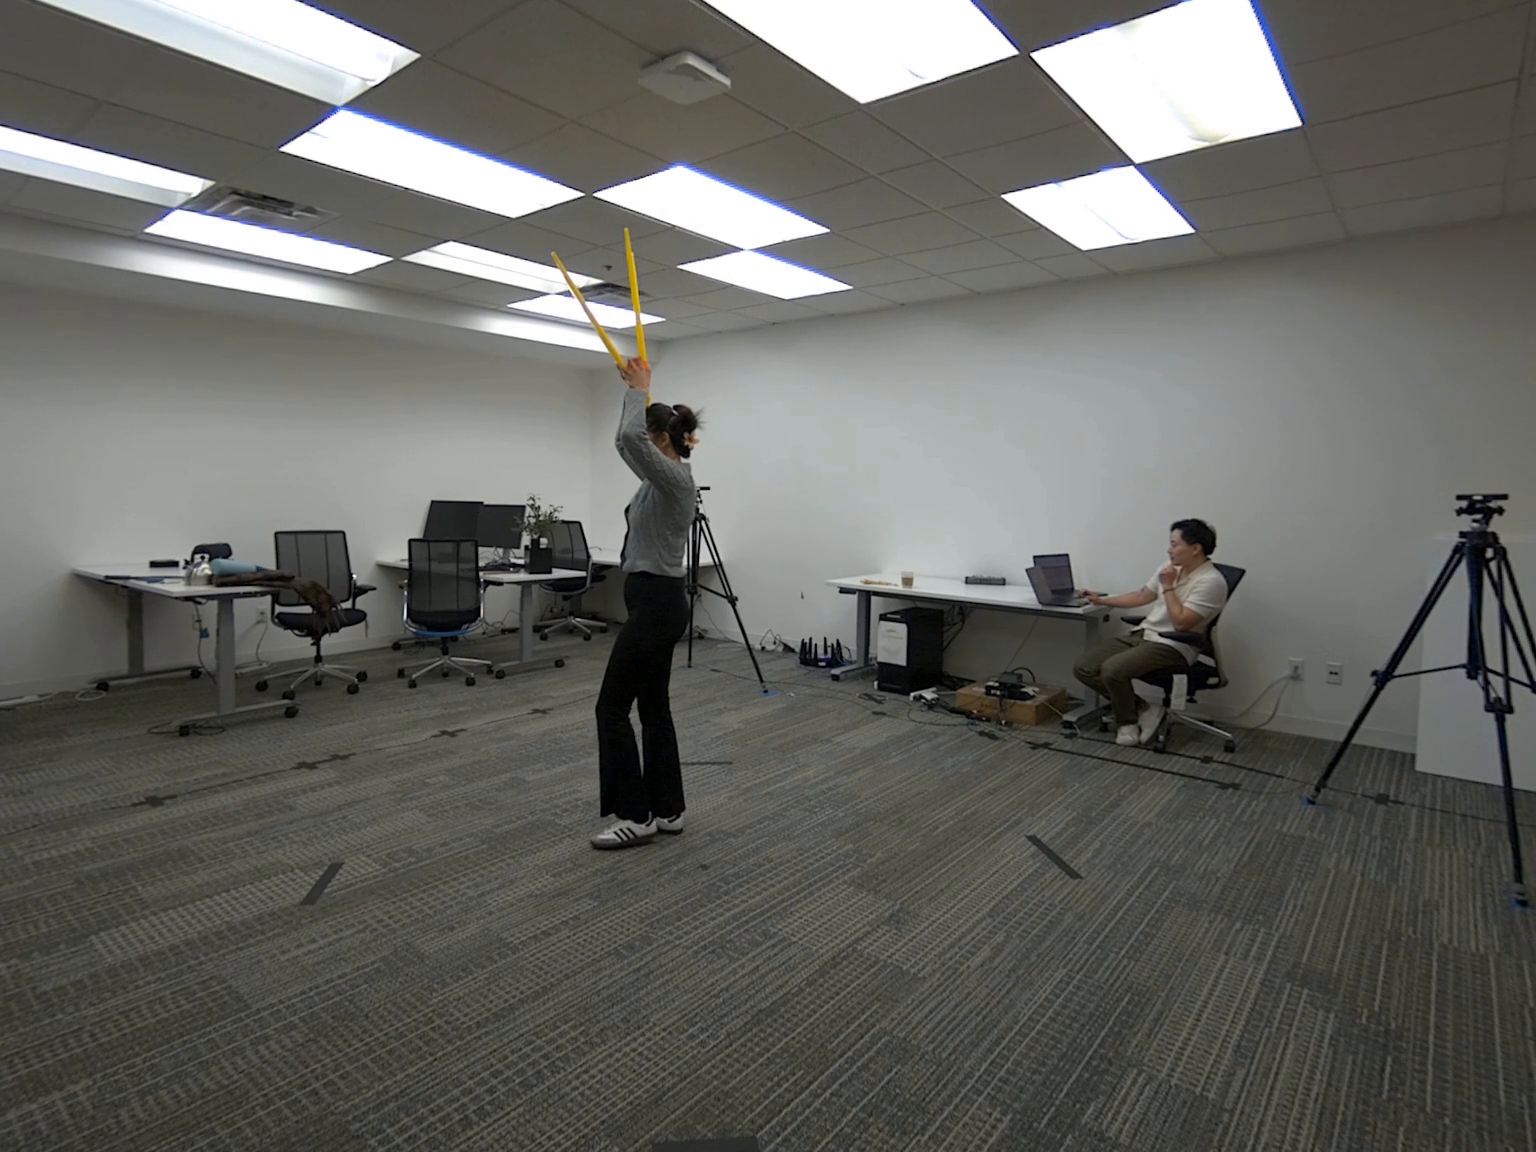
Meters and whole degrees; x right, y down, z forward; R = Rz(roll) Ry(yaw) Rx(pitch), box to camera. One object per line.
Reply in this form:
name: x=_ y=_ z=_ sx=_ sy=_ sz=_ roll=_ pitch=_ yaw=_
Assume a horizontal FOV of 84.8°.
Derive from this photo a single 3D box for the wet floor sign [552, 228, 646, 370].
wet floor sign: x=-0.584 y=-0.967 z=3.316 sx=0.289 sy=0.640 sz=0.285 roll=-20 pitch=8 yaw=-4
